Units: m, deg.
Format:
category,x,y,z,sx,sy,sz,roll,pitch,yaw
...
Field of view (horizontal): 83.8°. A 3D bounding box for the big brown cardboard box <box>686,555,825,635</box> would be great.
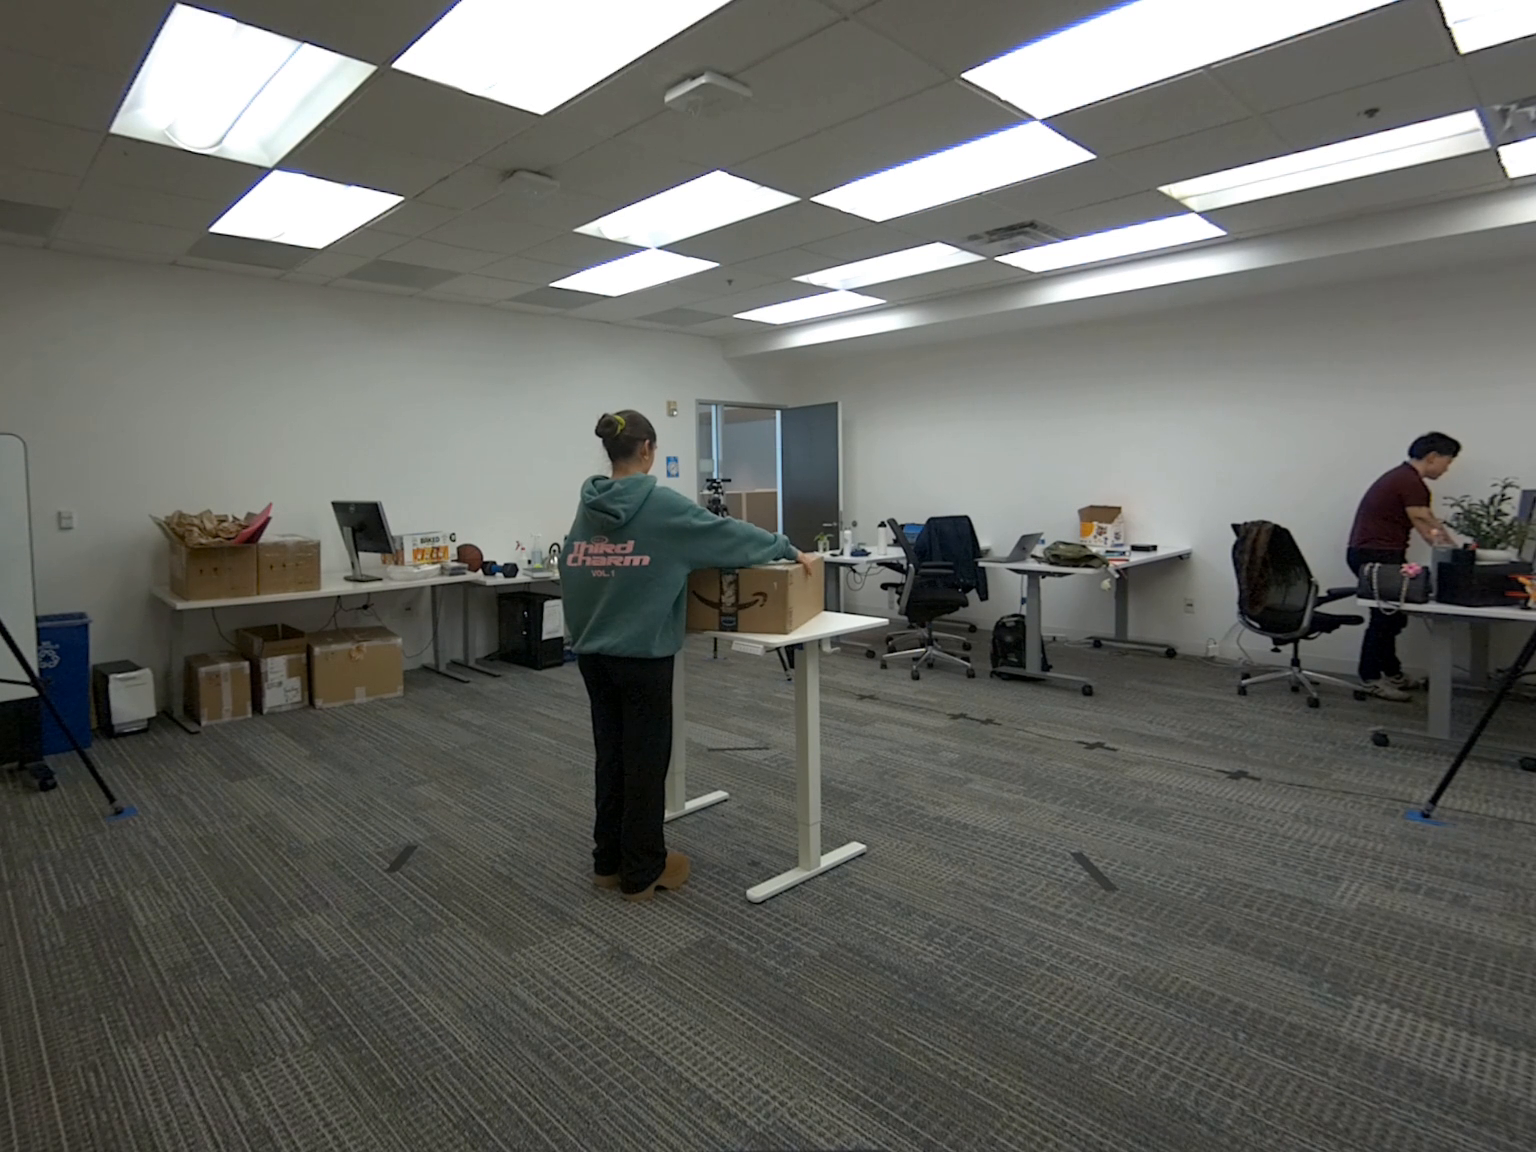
category,x,y,z,sx,sy,sz,roll,pitch,yaw
big brown cardboard box,-0.057,0.052,3.121,0.425,0.232,0.580,1,5,19
